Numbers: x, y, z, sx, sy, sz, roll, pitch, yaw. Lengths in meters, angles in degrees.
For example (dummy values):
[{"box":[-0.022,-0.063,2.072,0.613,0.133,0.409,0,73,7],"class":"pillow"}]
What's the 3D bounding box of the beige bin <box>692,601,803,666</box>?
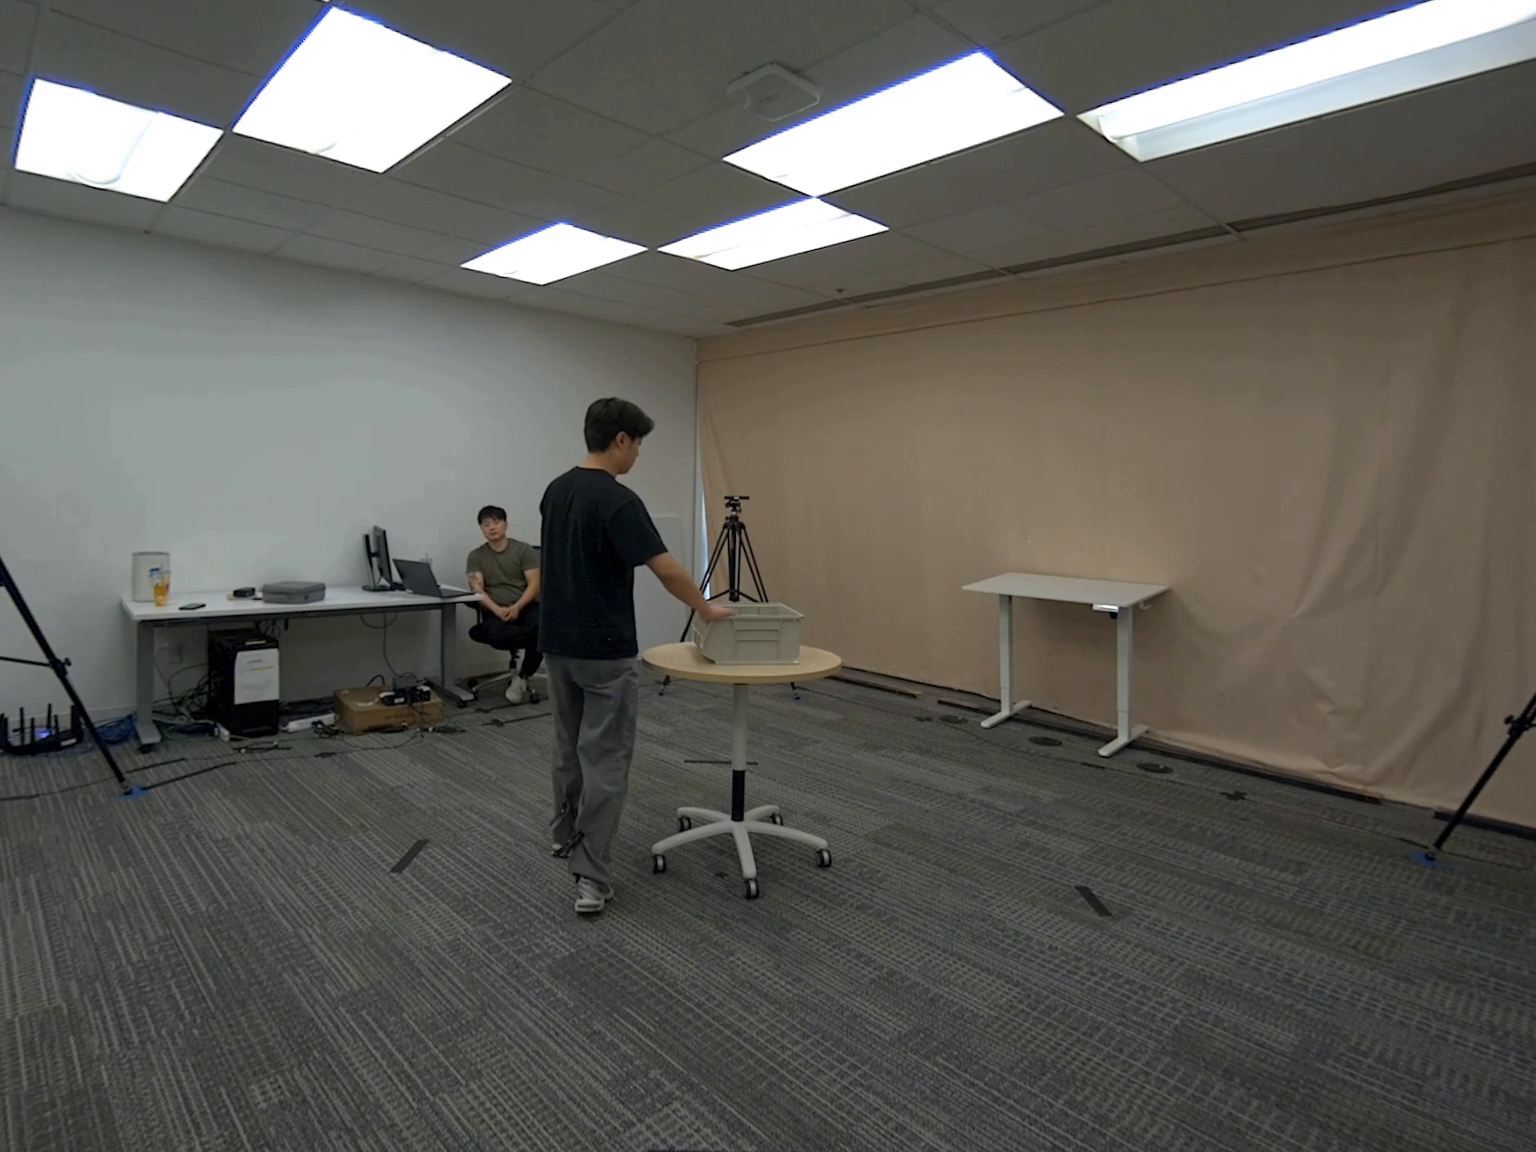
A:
[{"box":[-0.108,0.217,3.275,0.374,0.188,0.427,1,4,-10],"class":"beige bin"}]
